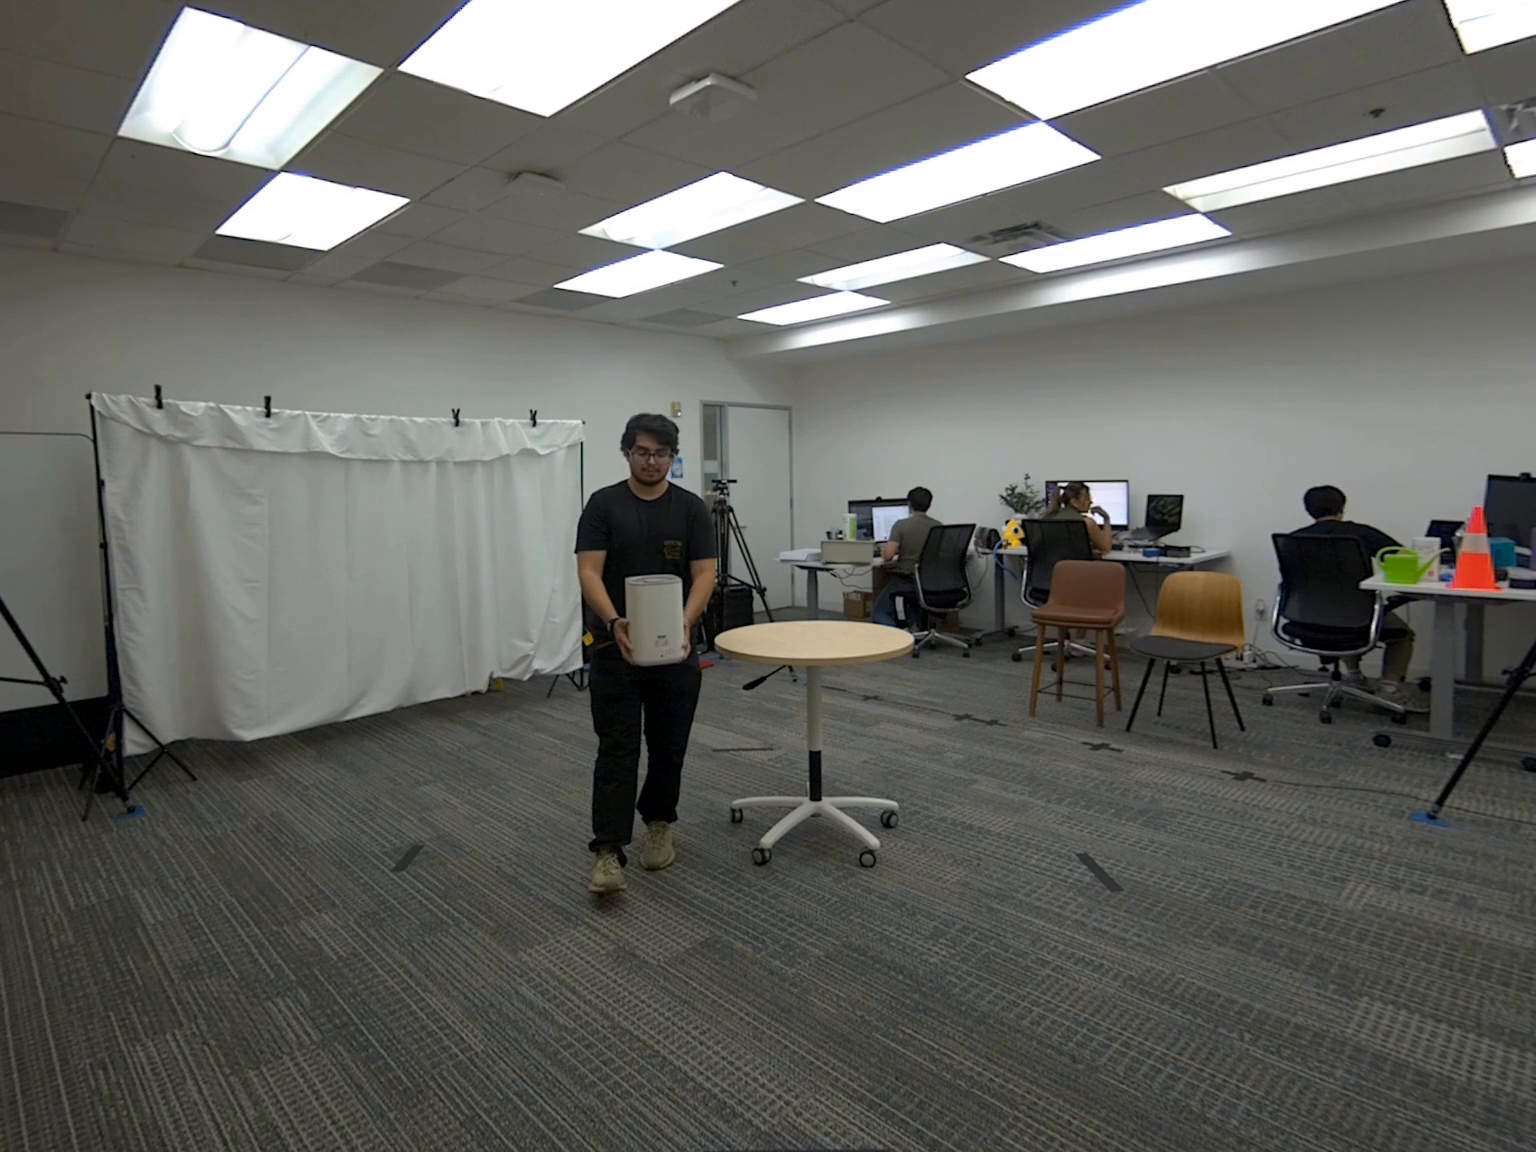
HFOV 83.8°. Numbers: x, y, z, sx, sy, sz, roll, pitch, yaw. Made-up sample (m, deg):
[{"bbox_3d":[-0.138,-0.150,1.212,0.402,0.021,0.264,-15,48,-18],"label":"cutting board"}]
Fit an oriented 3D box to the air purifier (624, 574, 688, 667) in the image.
[{"bbox_3d":[-0.362,0.142,2.736,0.168,0.264,0.175,-3,7,-19],"label":"air purifier"}]
